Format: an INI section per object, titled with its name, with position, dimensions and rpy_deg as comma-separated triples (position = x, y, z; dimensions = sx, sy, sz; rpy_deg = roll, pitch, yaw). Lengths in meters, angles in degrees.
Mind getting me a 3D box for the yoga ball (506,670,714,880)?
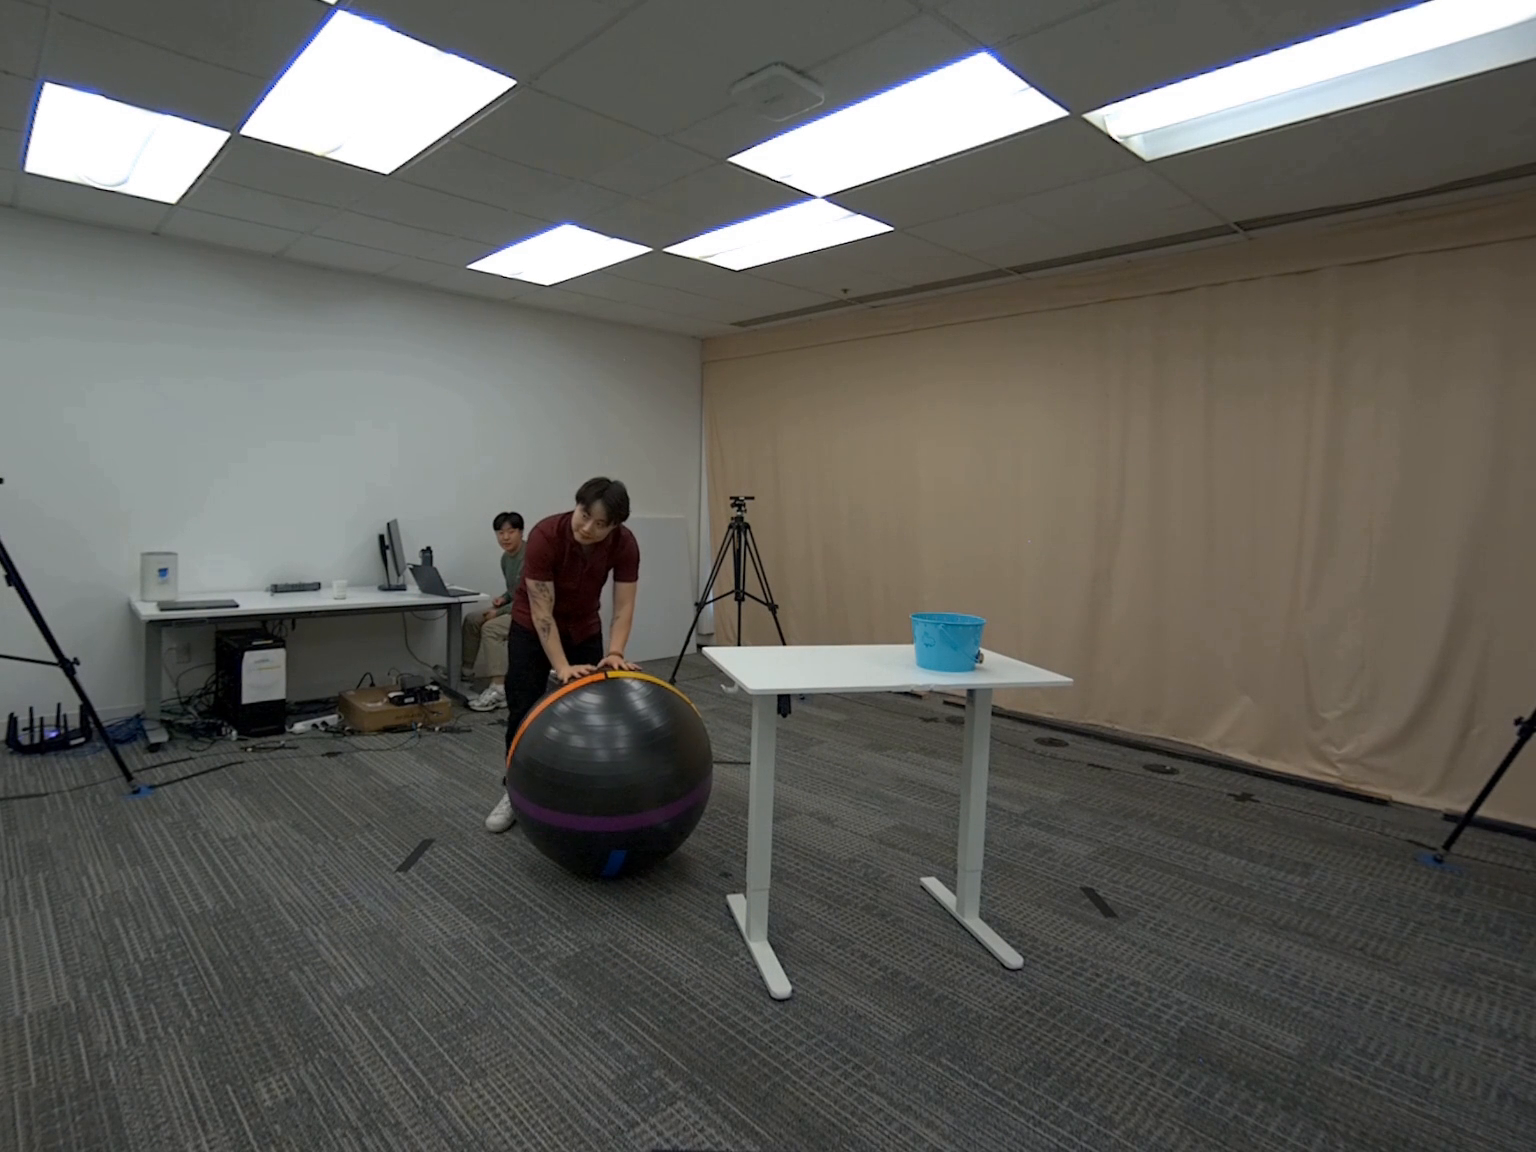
[yoga ball]
position = -0.597, 0.728, 3.151
dimensions = 0.757, 0.756, 0.760
rpy_deg = 1, 4, -1
